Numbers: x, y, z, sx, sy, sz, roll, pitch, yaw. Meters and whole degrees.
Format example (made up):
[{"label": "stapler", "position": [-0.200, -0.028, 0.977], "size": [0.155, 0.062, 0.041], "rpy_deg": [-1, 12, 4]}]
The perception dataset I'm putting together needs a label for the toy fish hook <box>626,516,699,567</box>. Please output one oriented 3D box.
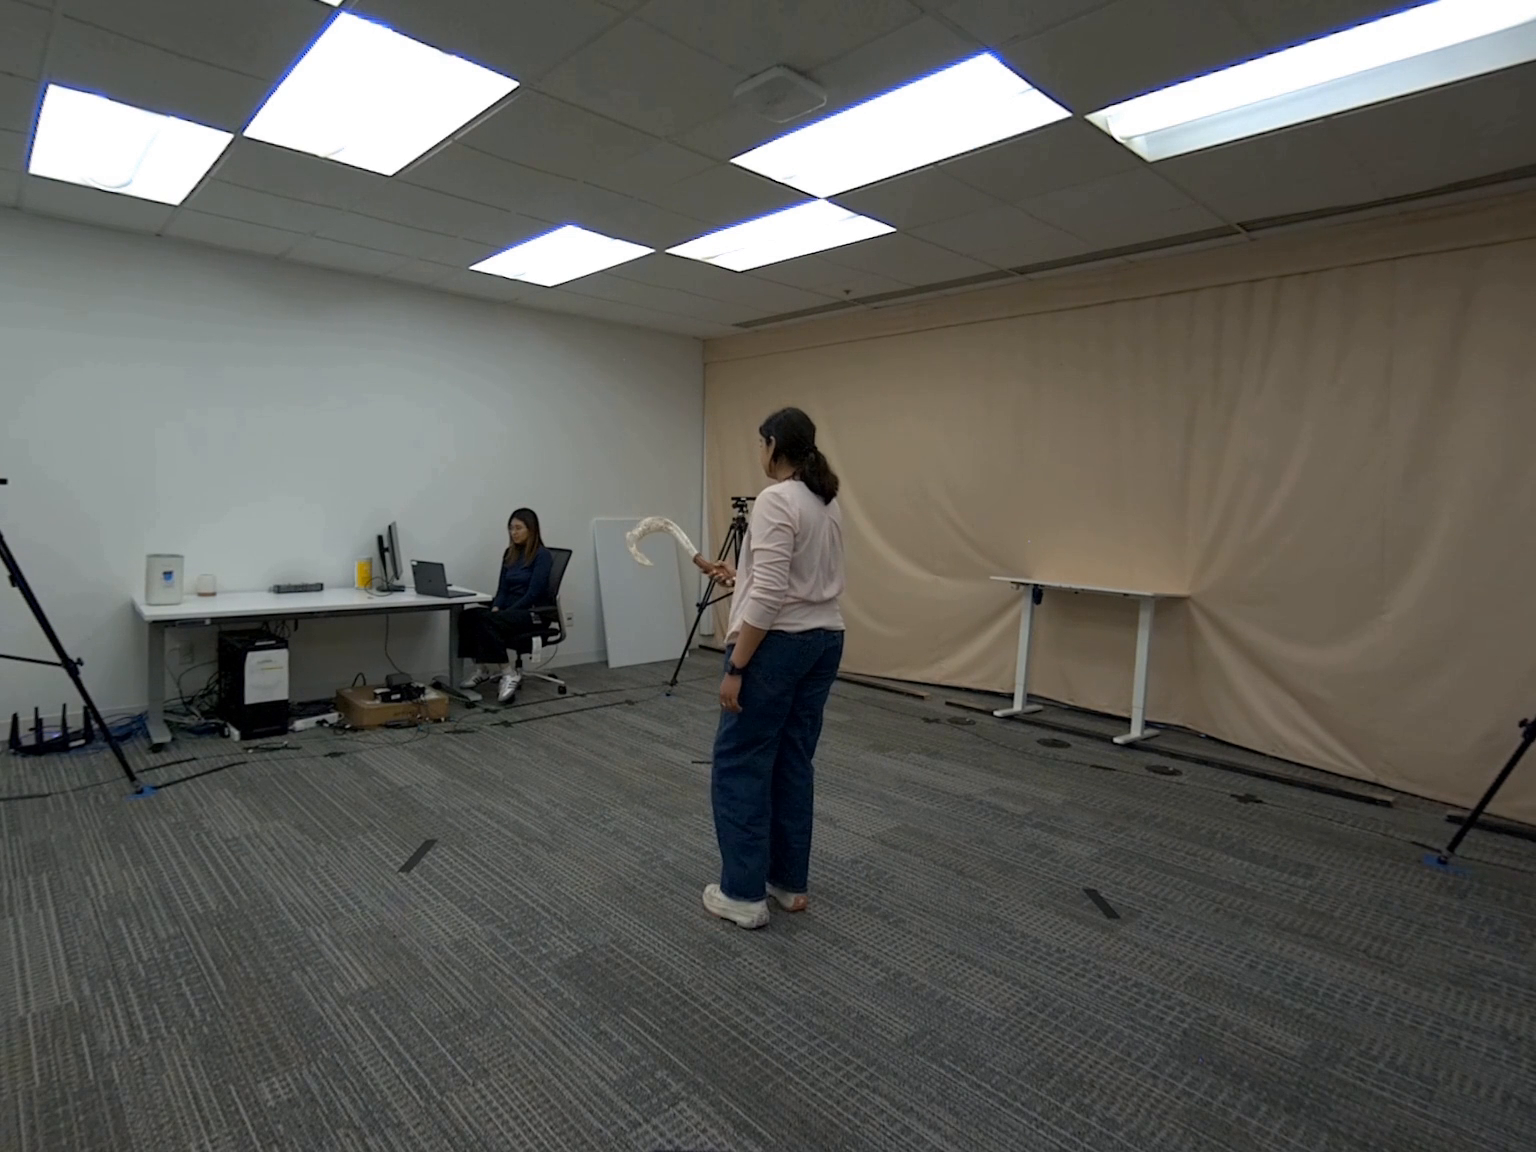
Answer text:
[{"label": "toy fish hook", "position": [-0.342, -0.064, 3.219], "size": [0.521, 0.224, 0.047], "rpy_deg": [35, -20, 29]}]
